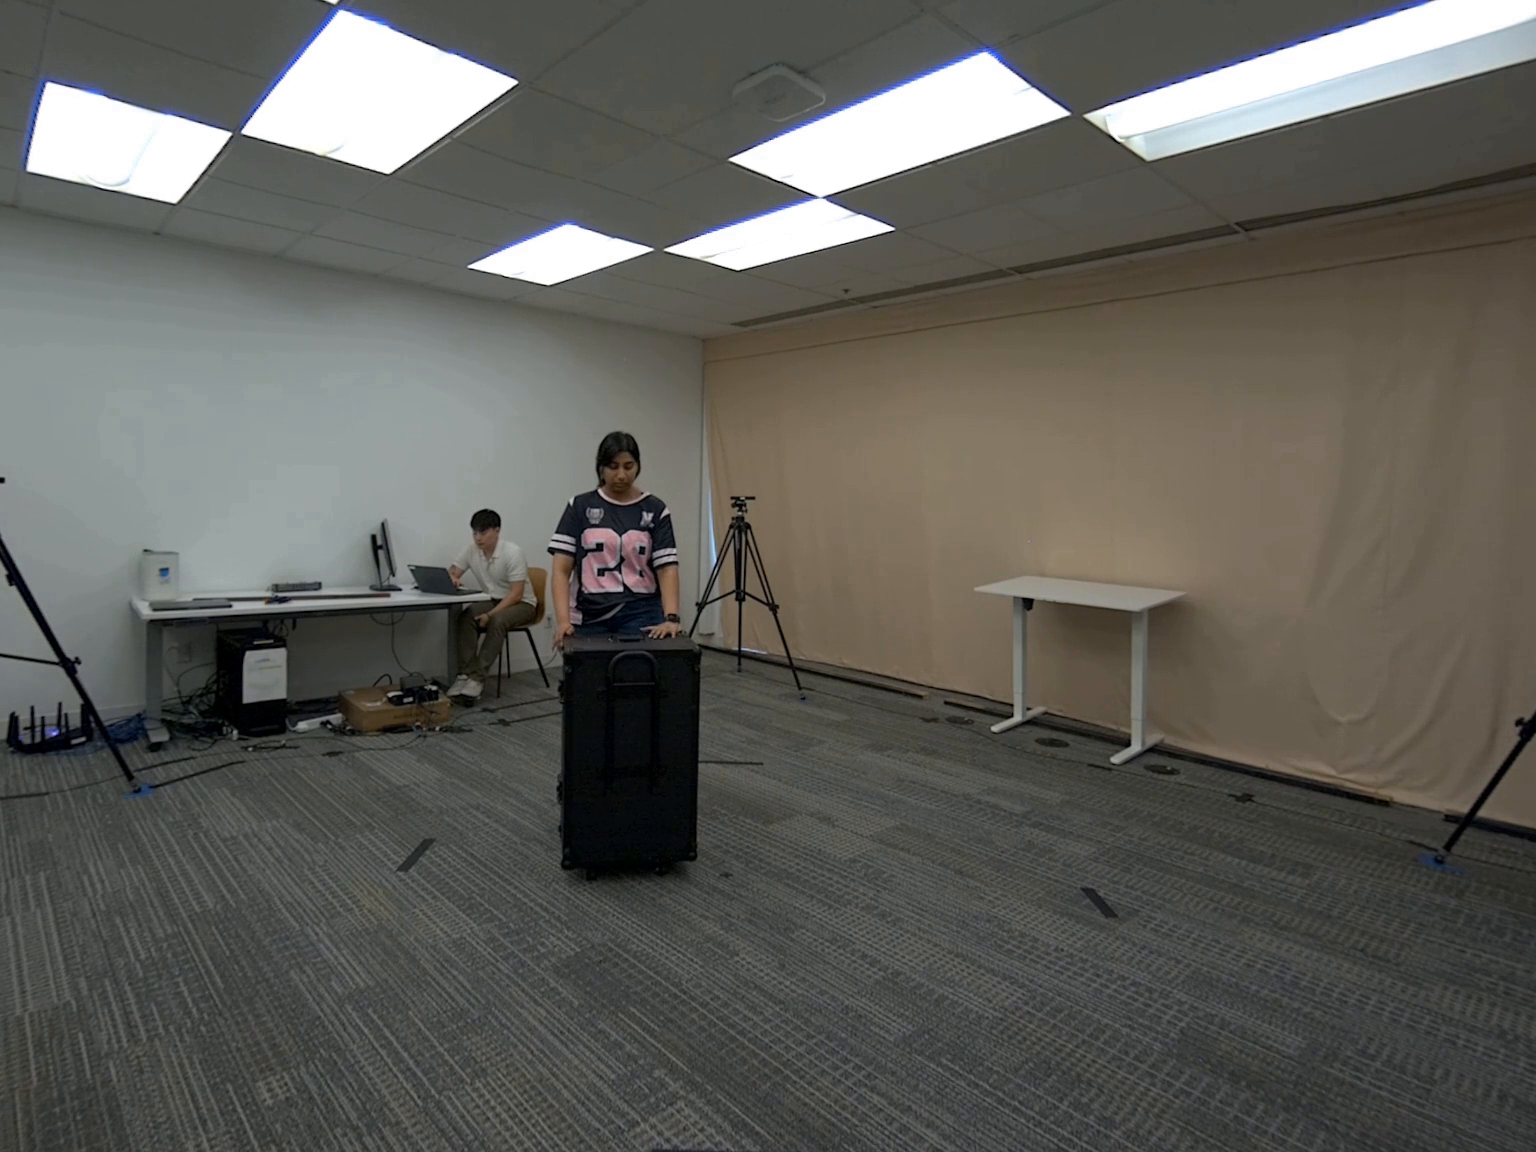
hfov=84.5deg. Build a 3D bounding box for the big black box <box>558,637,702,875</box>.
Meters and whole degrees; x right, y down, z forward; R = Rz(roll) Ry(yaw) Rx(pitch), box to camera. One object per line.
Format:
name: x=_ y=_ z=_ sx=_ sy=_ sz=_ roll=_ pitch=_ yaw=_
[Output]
big black box: x=-0.529 y=0.666 z=3.157 sx=0.517 sy=0.866 sz=0.391 roll=0 pitch=4 yaw=-15
